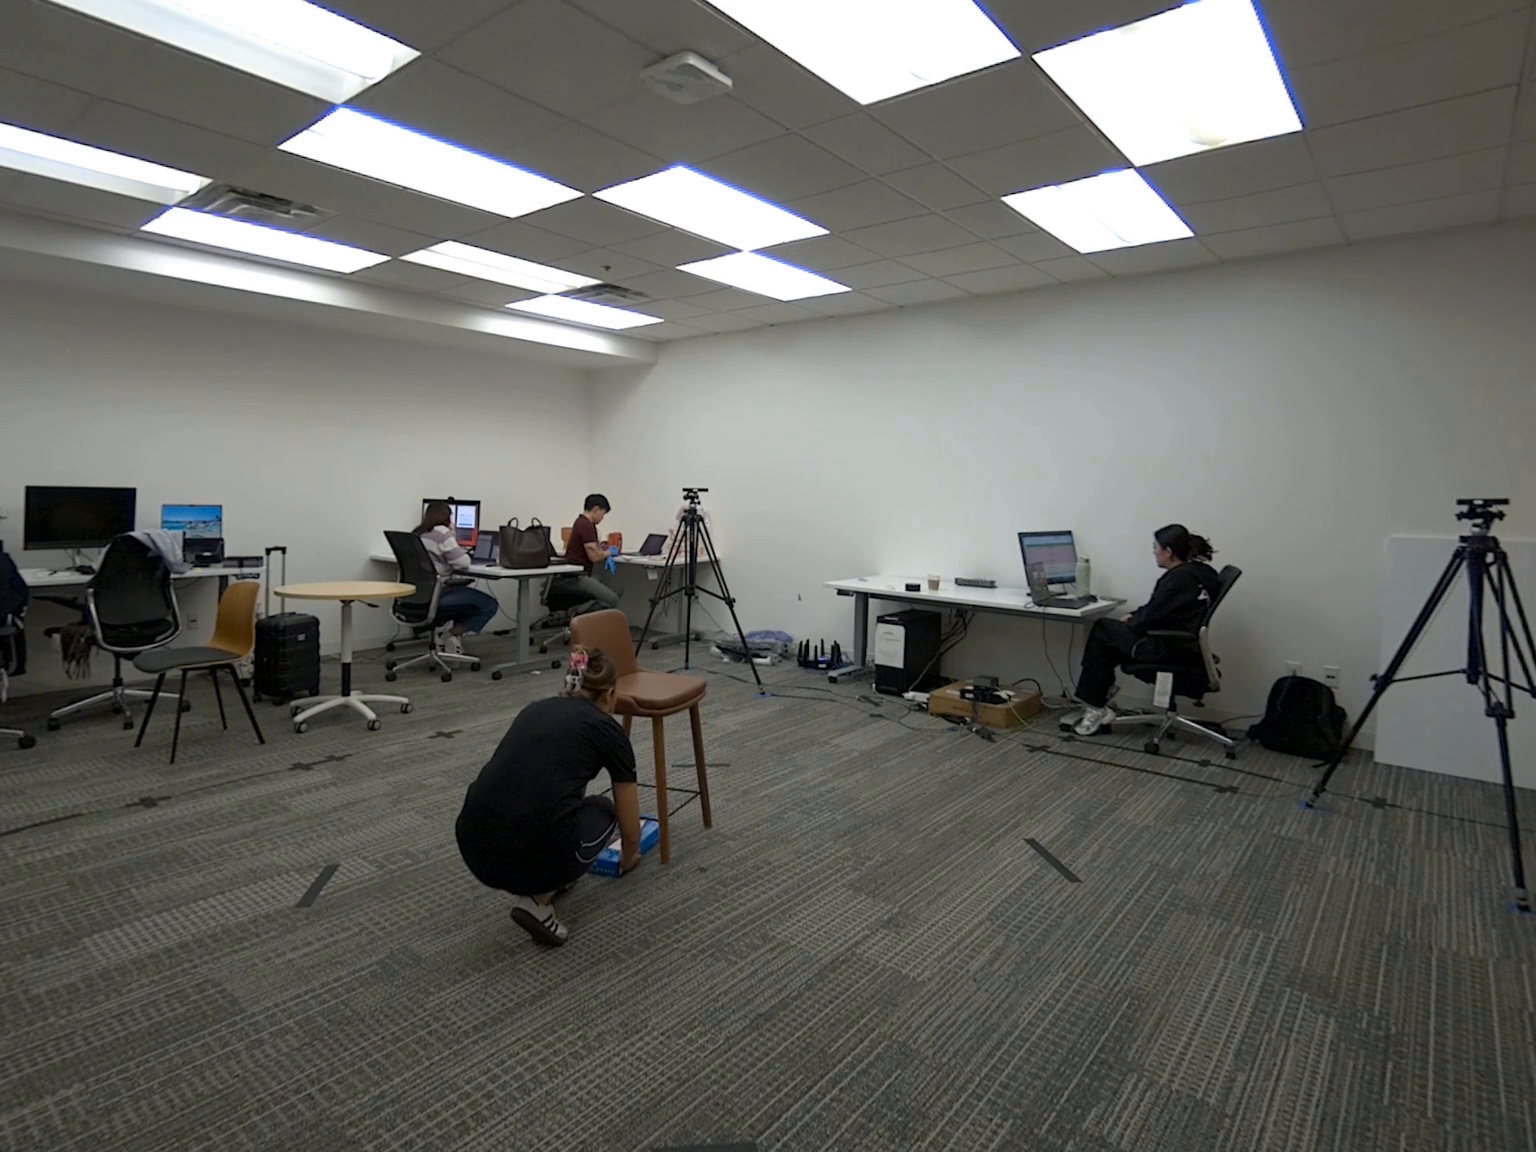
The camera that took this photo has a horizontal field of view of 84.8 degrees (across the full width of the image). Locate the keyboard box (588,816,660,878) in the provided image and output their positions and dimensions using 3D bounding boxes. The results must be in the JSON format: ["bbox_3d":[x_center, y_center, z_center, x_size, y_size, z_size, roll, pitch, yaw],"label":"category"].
[{"bbox_3d":[-0.556,1.020,3.256,0.179,0.059,0.430,2,6,17],"label":"keyboard box"}]
